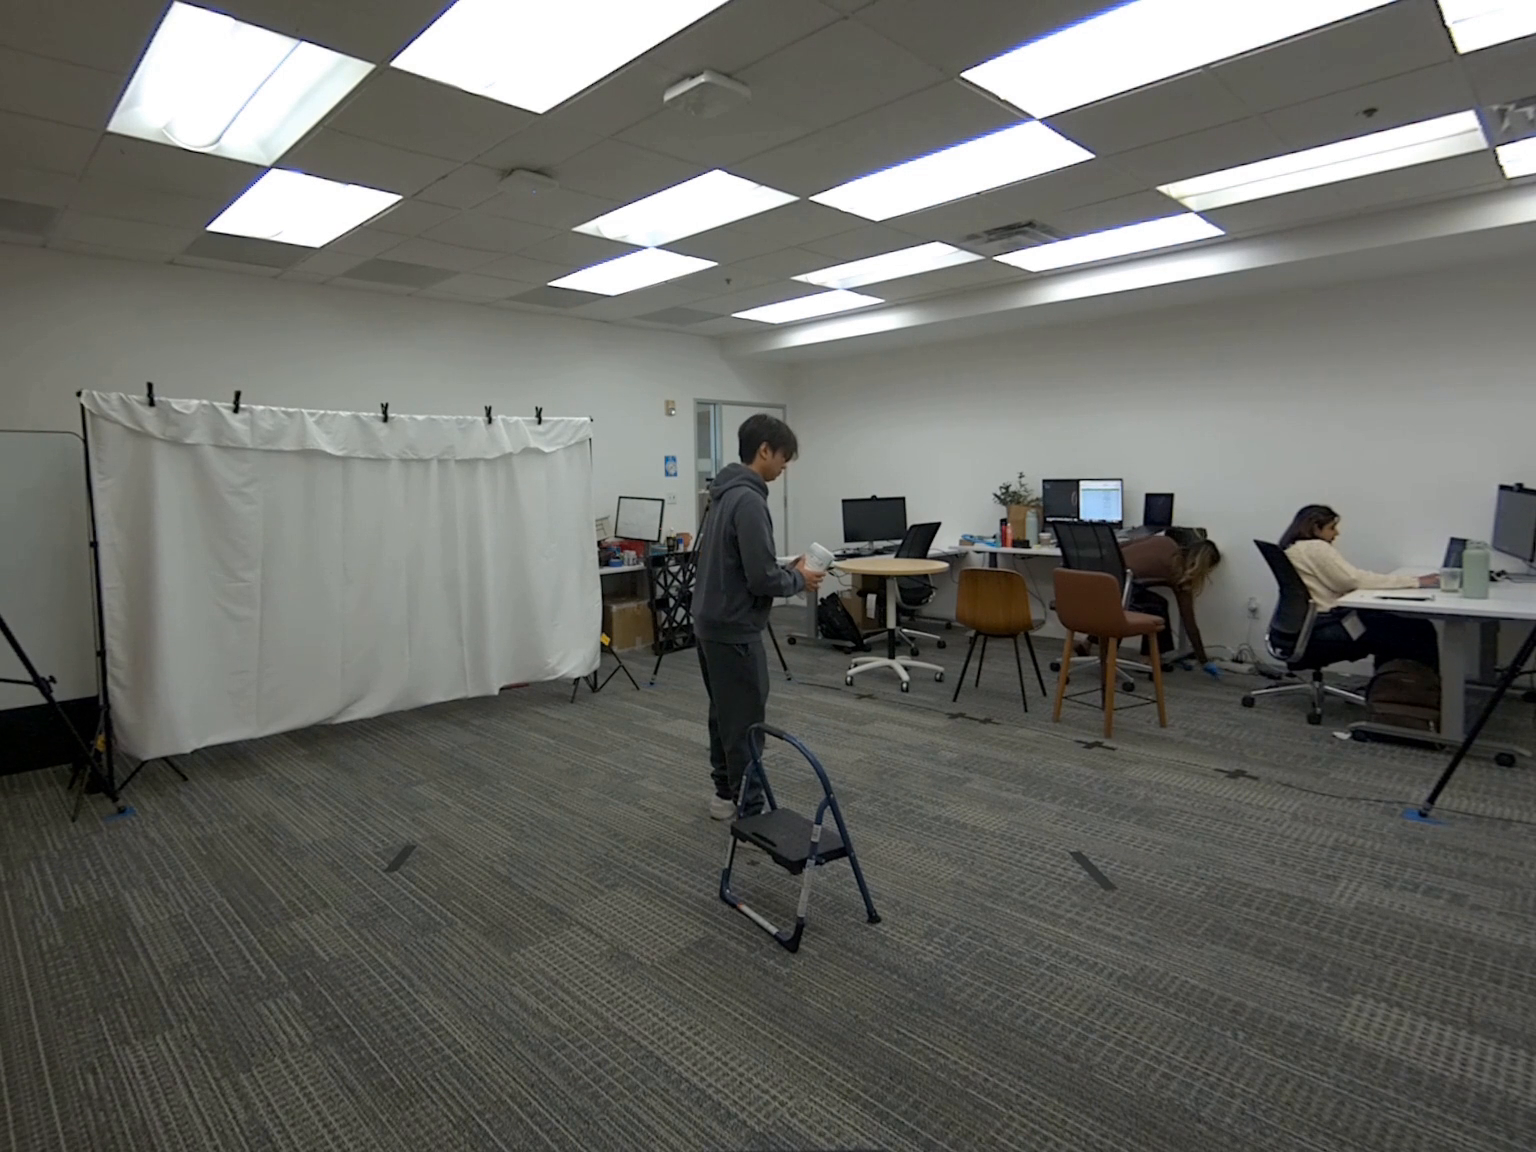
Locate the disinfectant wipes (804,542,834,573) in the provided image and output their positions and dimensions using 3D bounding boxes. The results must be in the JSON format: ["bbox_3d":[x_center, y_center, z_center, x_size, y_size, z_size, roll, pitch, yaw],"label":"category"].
[{"bbox_3d":[0.155,-0.019,3.419,0.117,0.217,0.118,39,1,-3],"label":"disinfectant wipes"}]
